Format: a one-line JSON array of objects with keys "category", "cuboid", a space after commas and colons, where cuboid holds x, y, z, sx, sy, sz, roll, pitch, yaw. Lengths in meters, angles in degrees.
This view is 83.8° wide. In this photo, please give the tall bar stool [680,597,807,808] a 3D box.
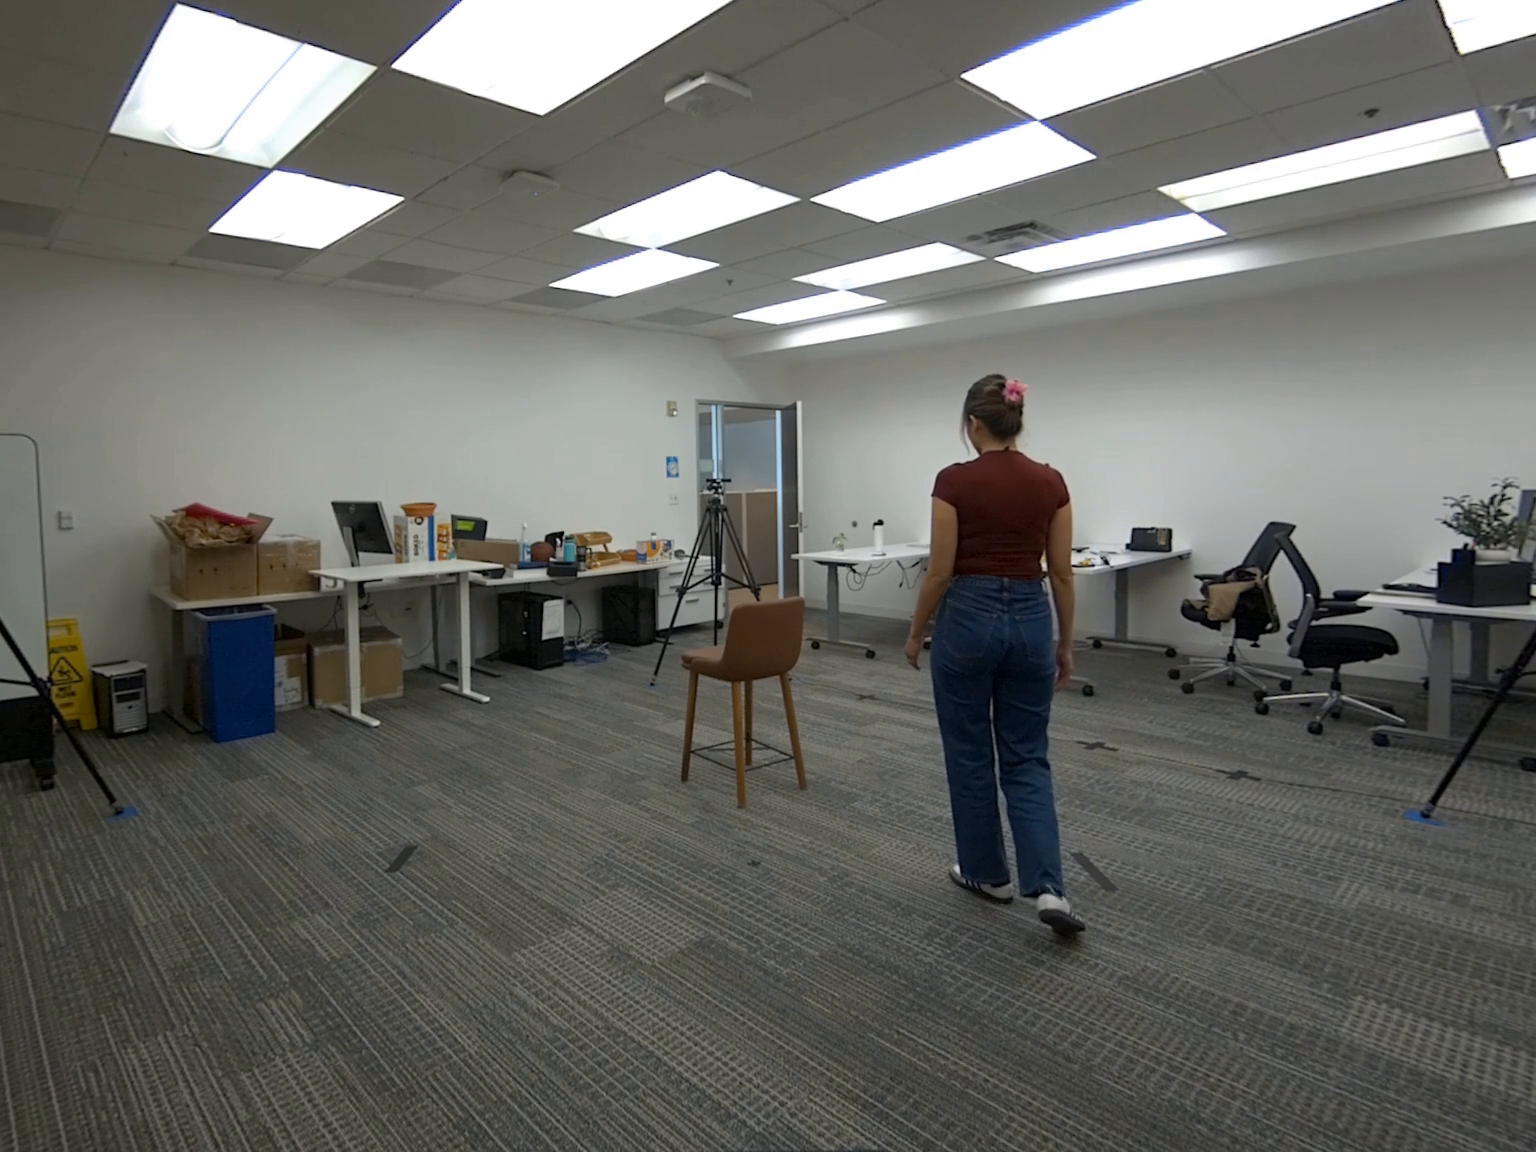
[{"category": "tall bar stool", "cuboid": [-0.113, 0.524, 3.889, 0.444, 0.886, 0.482, -4, 6, -38]}]
